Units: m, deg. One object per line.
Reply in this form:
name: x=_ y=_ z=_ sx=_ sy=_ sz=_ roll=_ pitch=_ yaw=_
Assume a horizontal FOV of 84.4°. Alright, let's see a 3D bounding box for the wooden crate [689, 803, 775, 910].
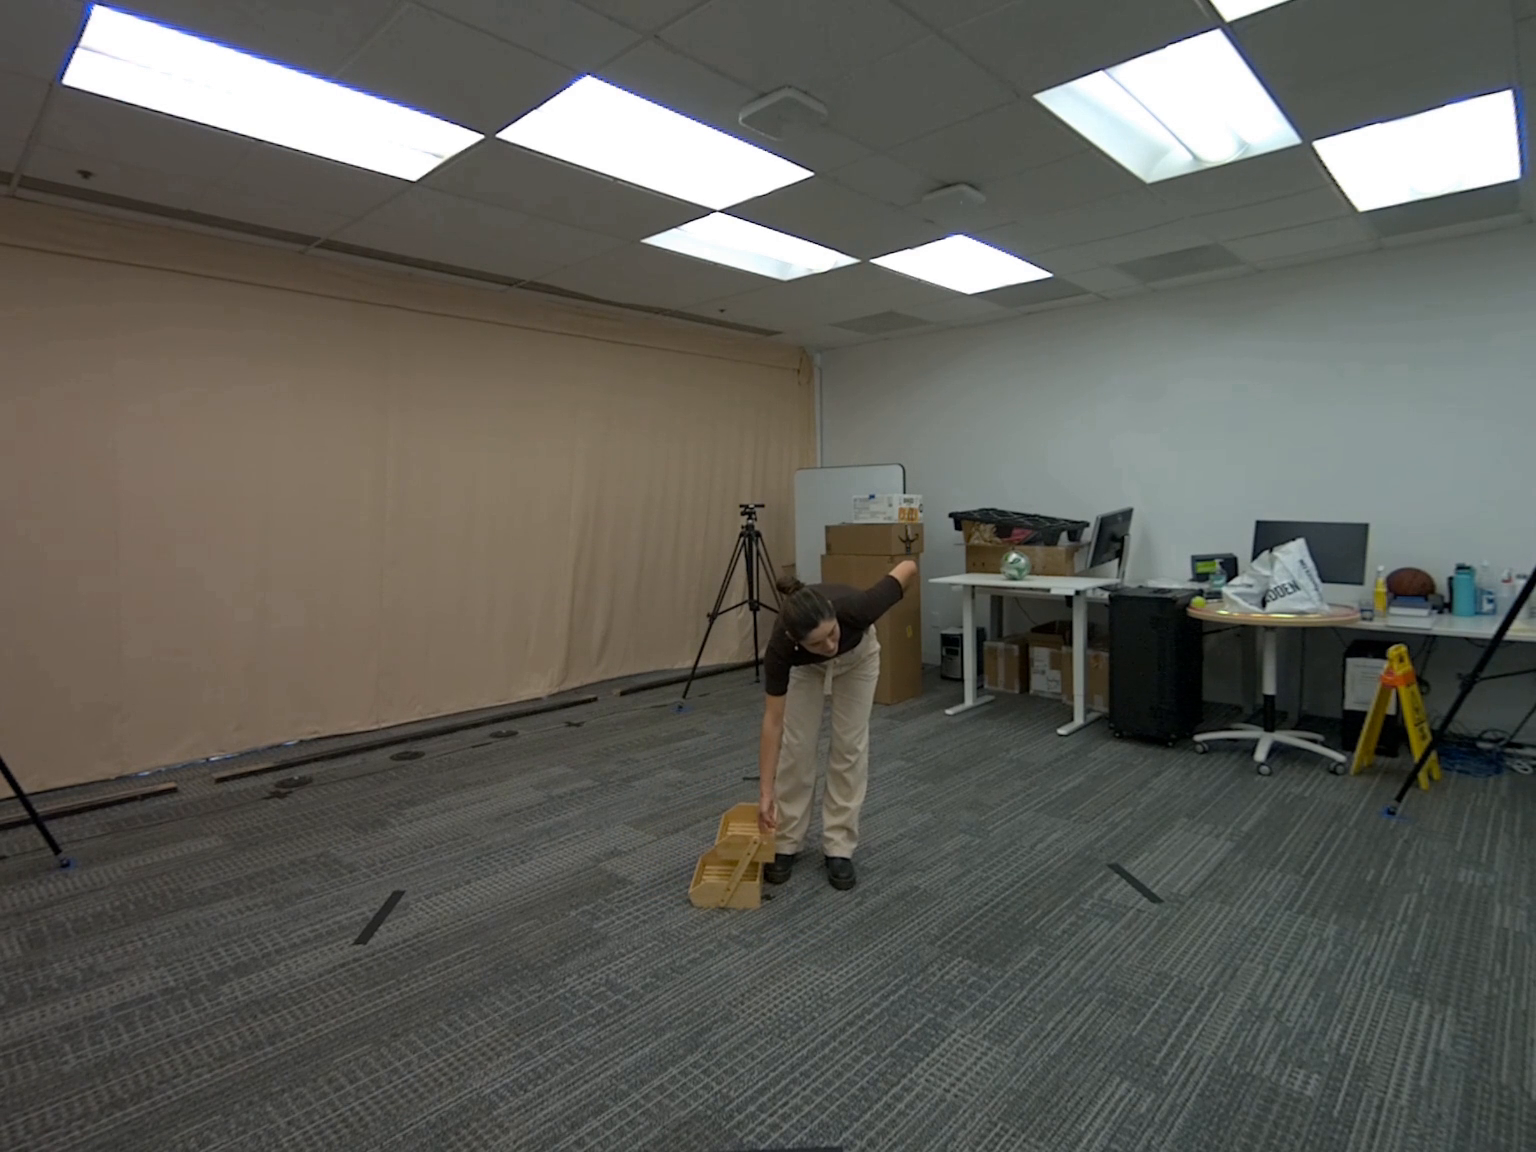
wooden crate: x=-0.130 y=1.006 z=3.043 sx=0.303 sy=0.273 sz=0.324 roll=0 pitch=4 yaw=2
